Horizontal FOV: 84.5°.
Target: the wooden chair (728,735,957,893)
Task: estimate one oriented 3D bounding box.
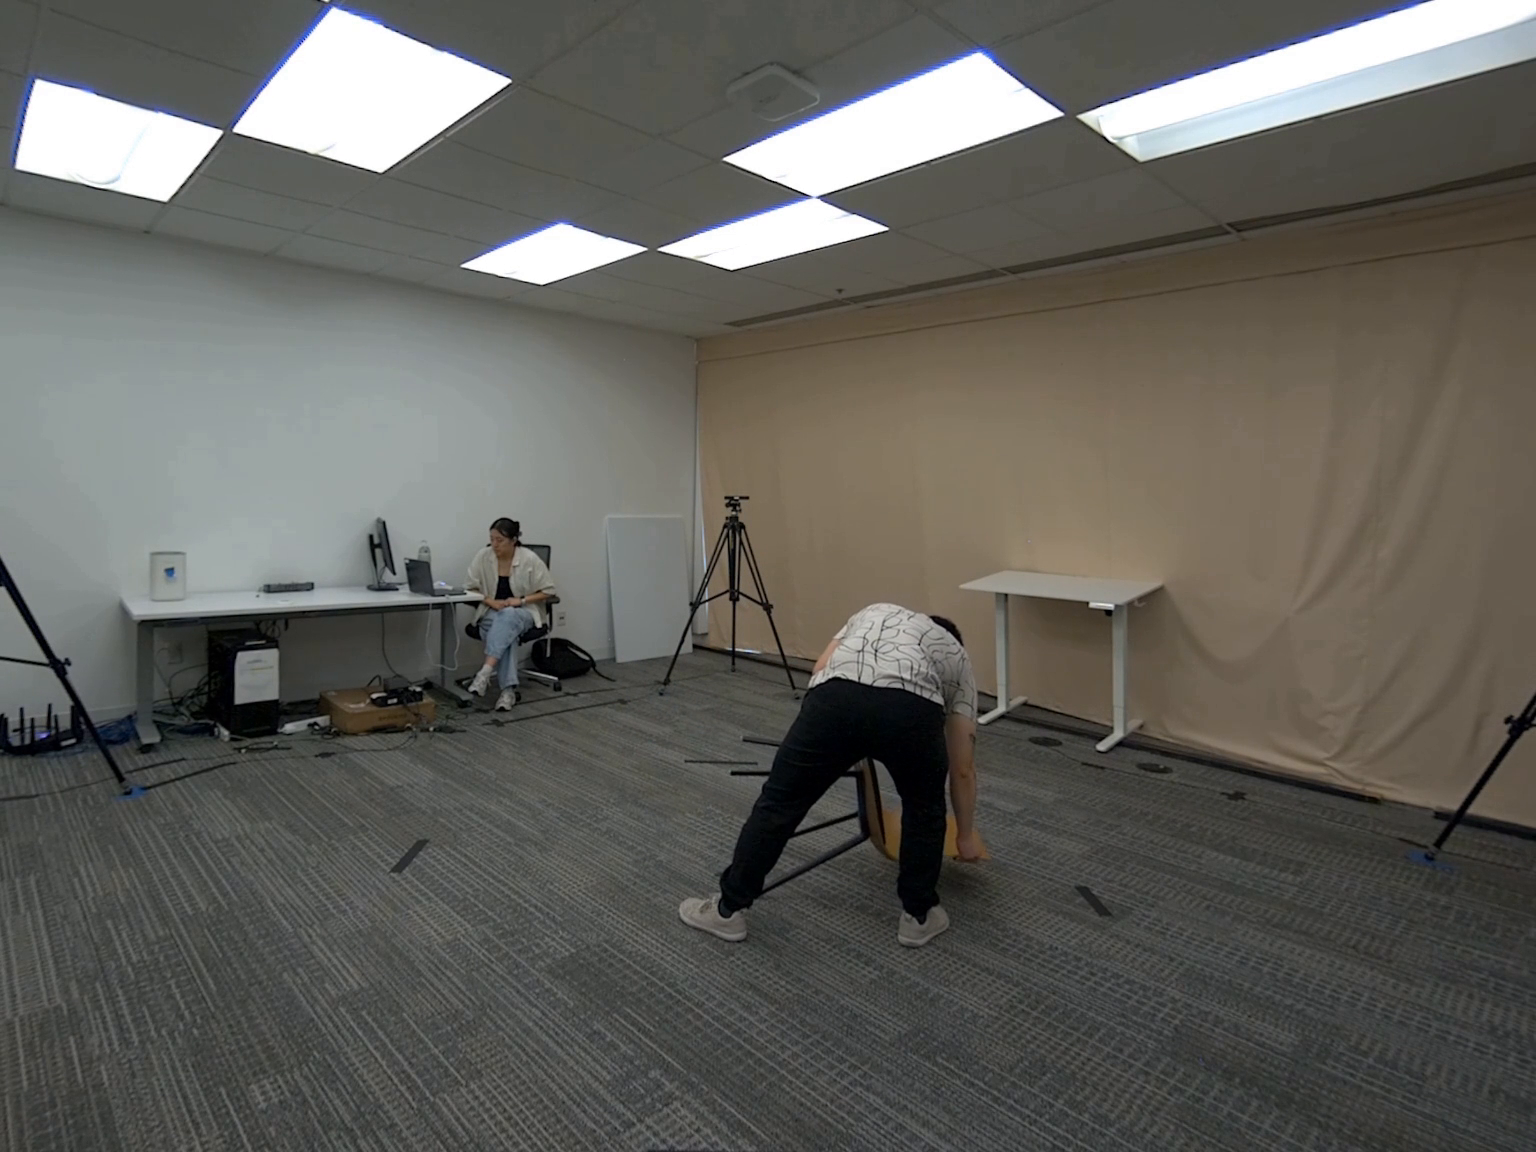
[{"bbox_3d":[0.339,0.804,3.090,0.881,0.522,0.477,-5,3,6],"label":"wooden chair"}]
